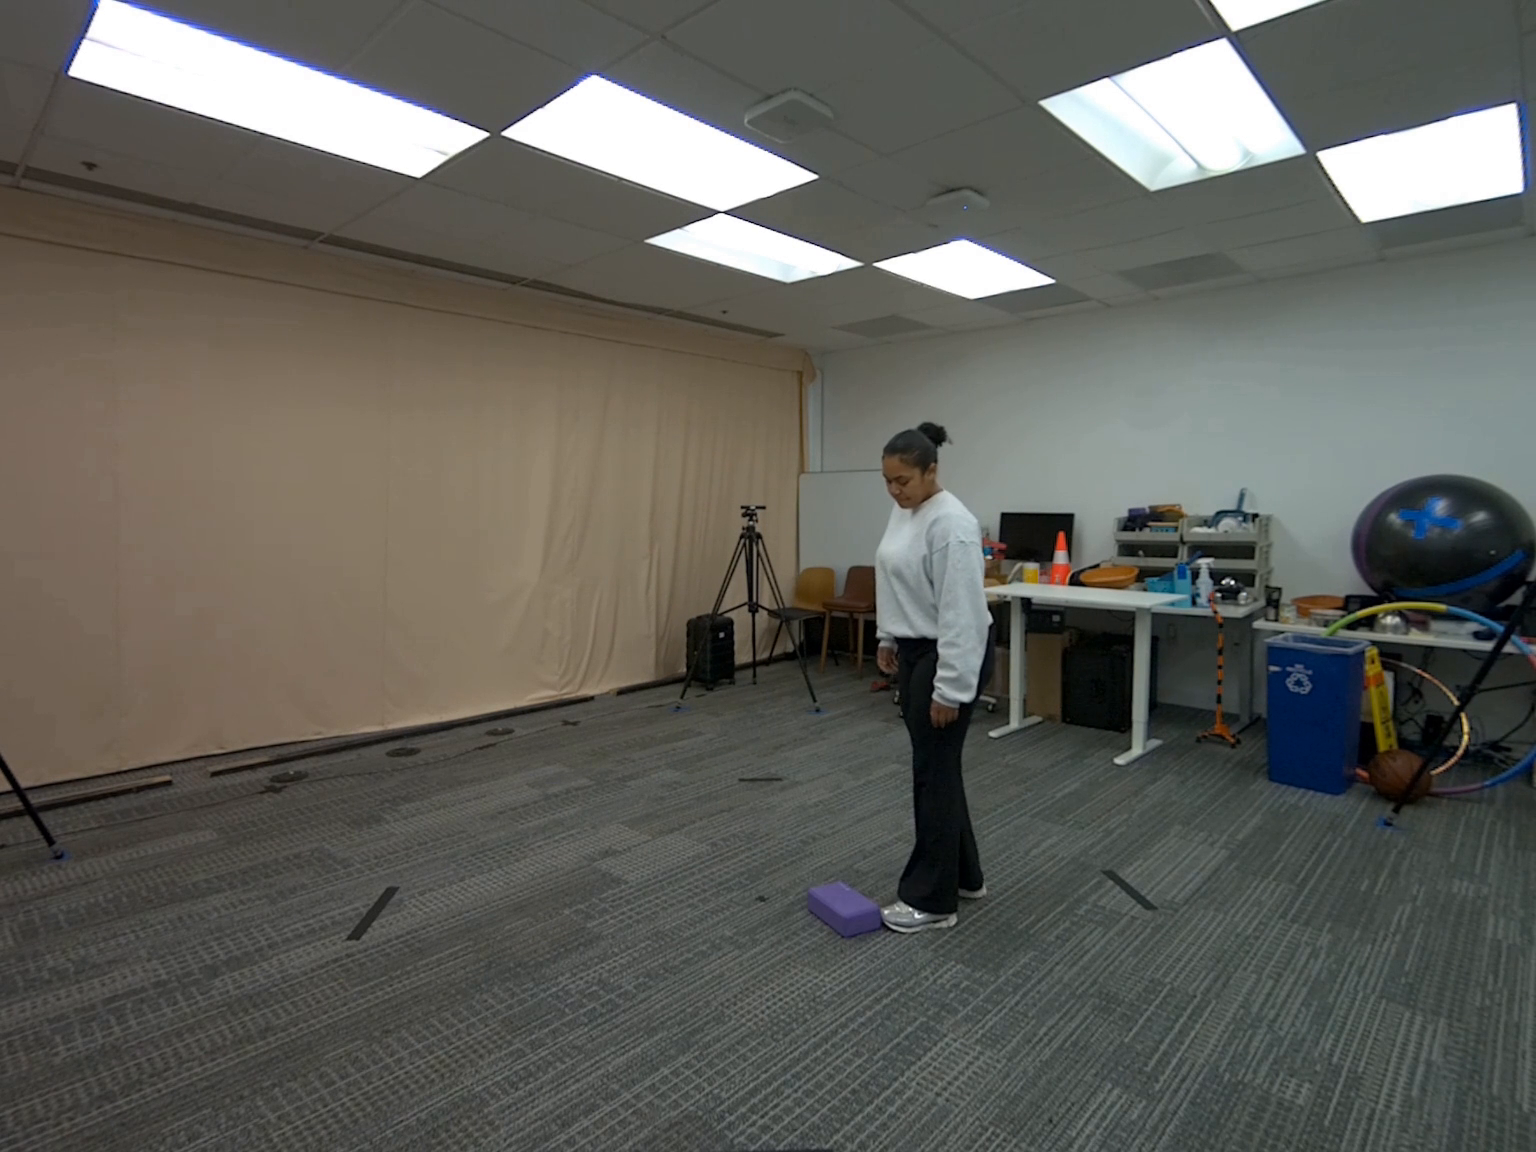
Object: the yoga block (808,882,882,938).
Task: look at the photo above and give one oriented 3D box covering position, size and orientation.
[{"bbox_3d":[0.259,1.121,2.834,0.145,0.076,0.236,-3,5,-29],"label":"yoga block"}]
